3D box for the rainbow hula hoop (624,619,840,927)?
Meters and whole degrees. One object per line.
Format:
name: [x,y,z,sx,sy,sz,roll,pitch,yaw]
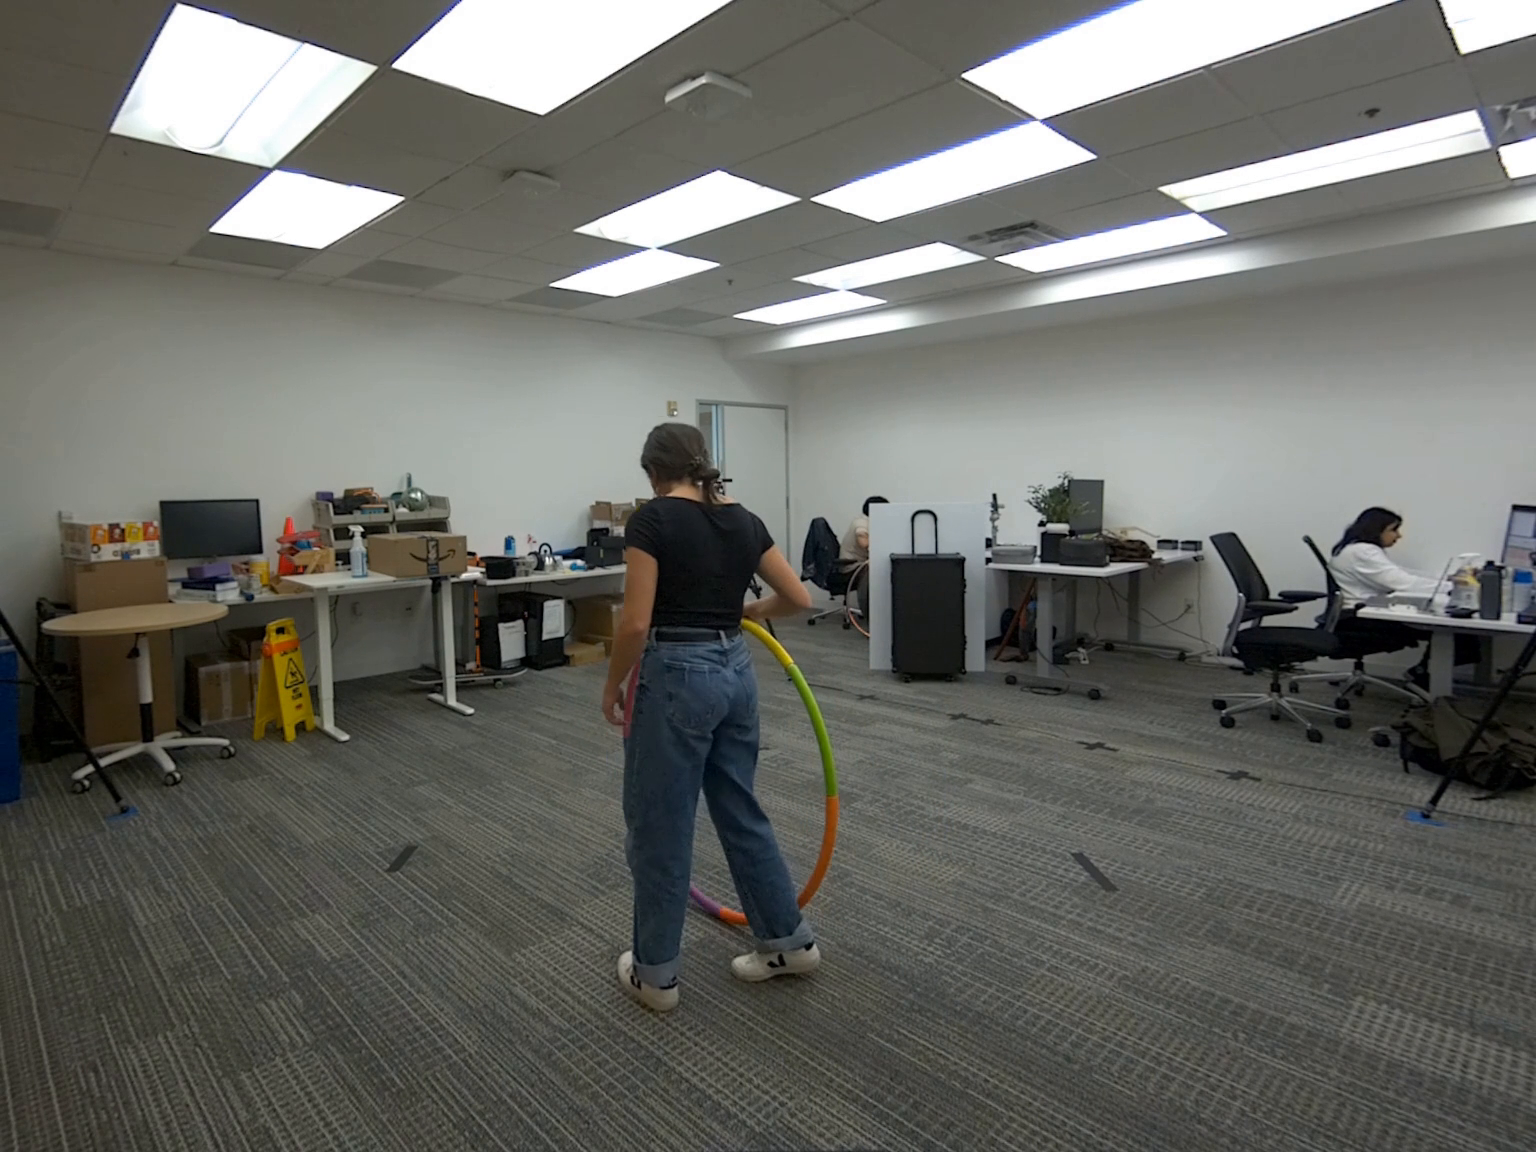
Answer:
rainbow hula hoop: [-0.159,0.593,2.725,0.034,0.976,1.009,-2,4,-45]
